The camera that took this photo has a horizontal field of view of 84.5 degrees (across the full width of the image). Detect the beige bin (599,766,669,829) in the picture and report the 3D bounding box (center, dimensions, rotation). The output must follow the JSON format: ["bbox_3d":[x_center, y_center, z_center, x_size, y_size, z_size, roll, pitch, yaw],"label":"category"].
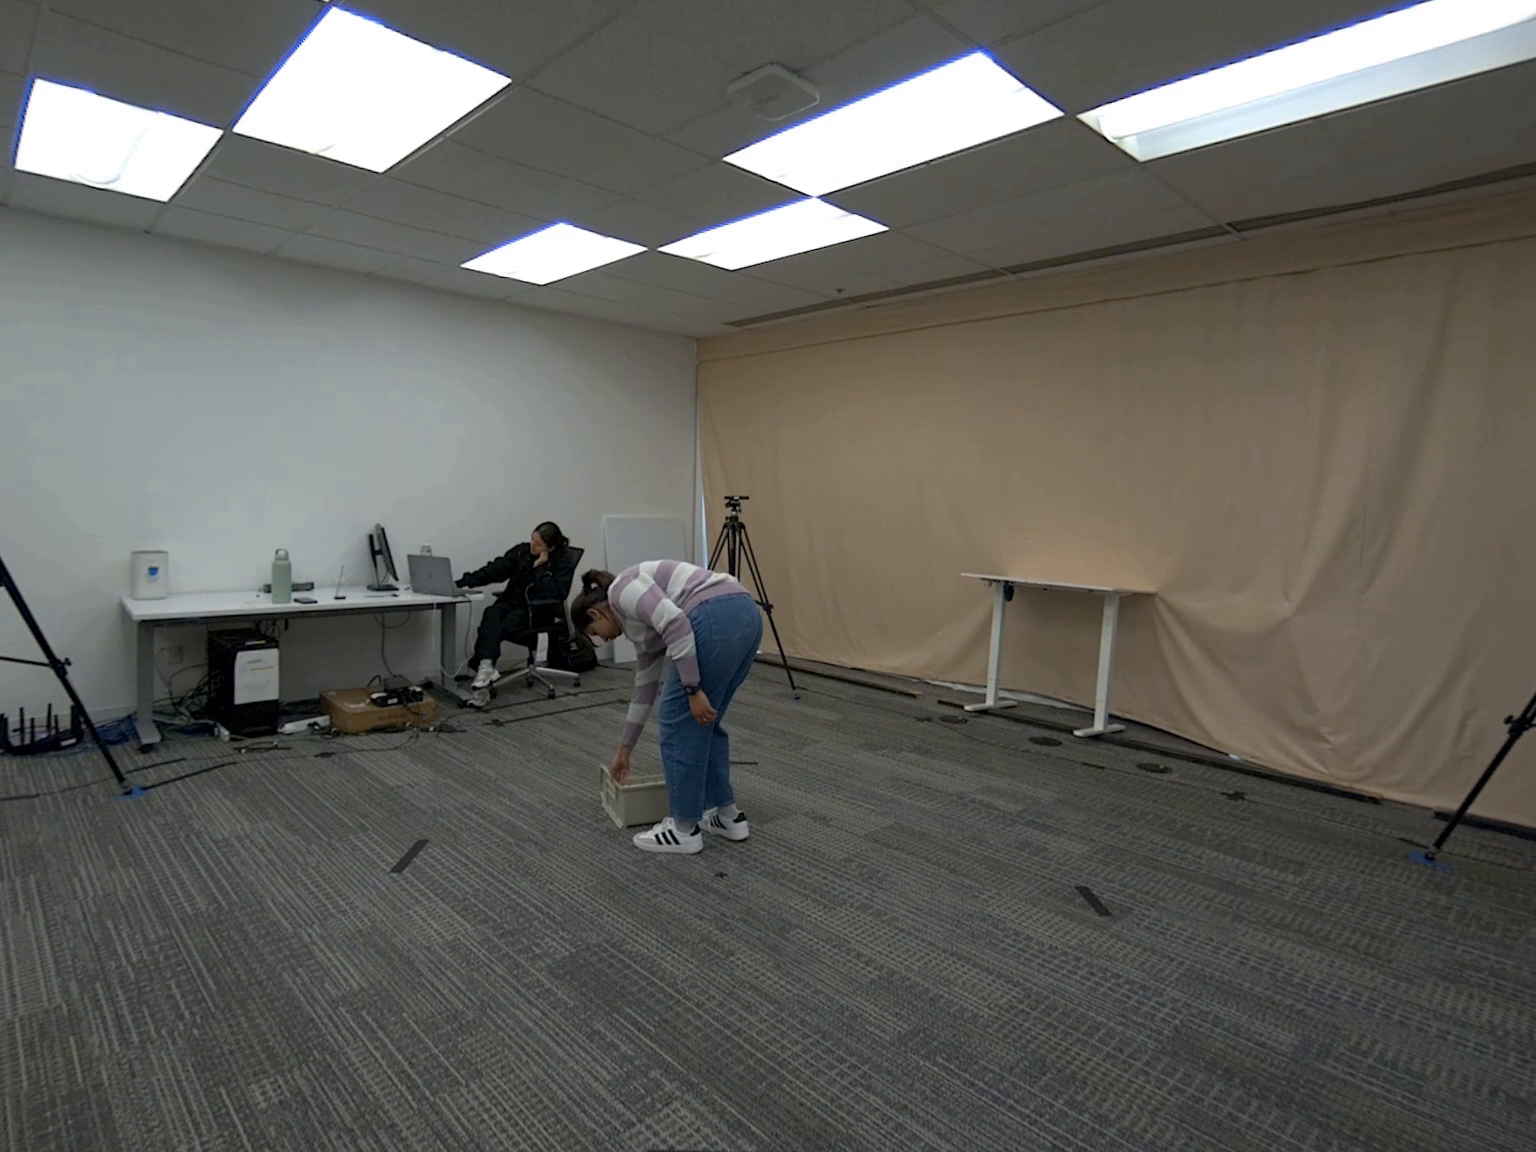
[{"bbox_3d":[-0.515,0.948,3.748,0.415,0.188,0.385,-1,6,-24],"label":"beige bin"}]
